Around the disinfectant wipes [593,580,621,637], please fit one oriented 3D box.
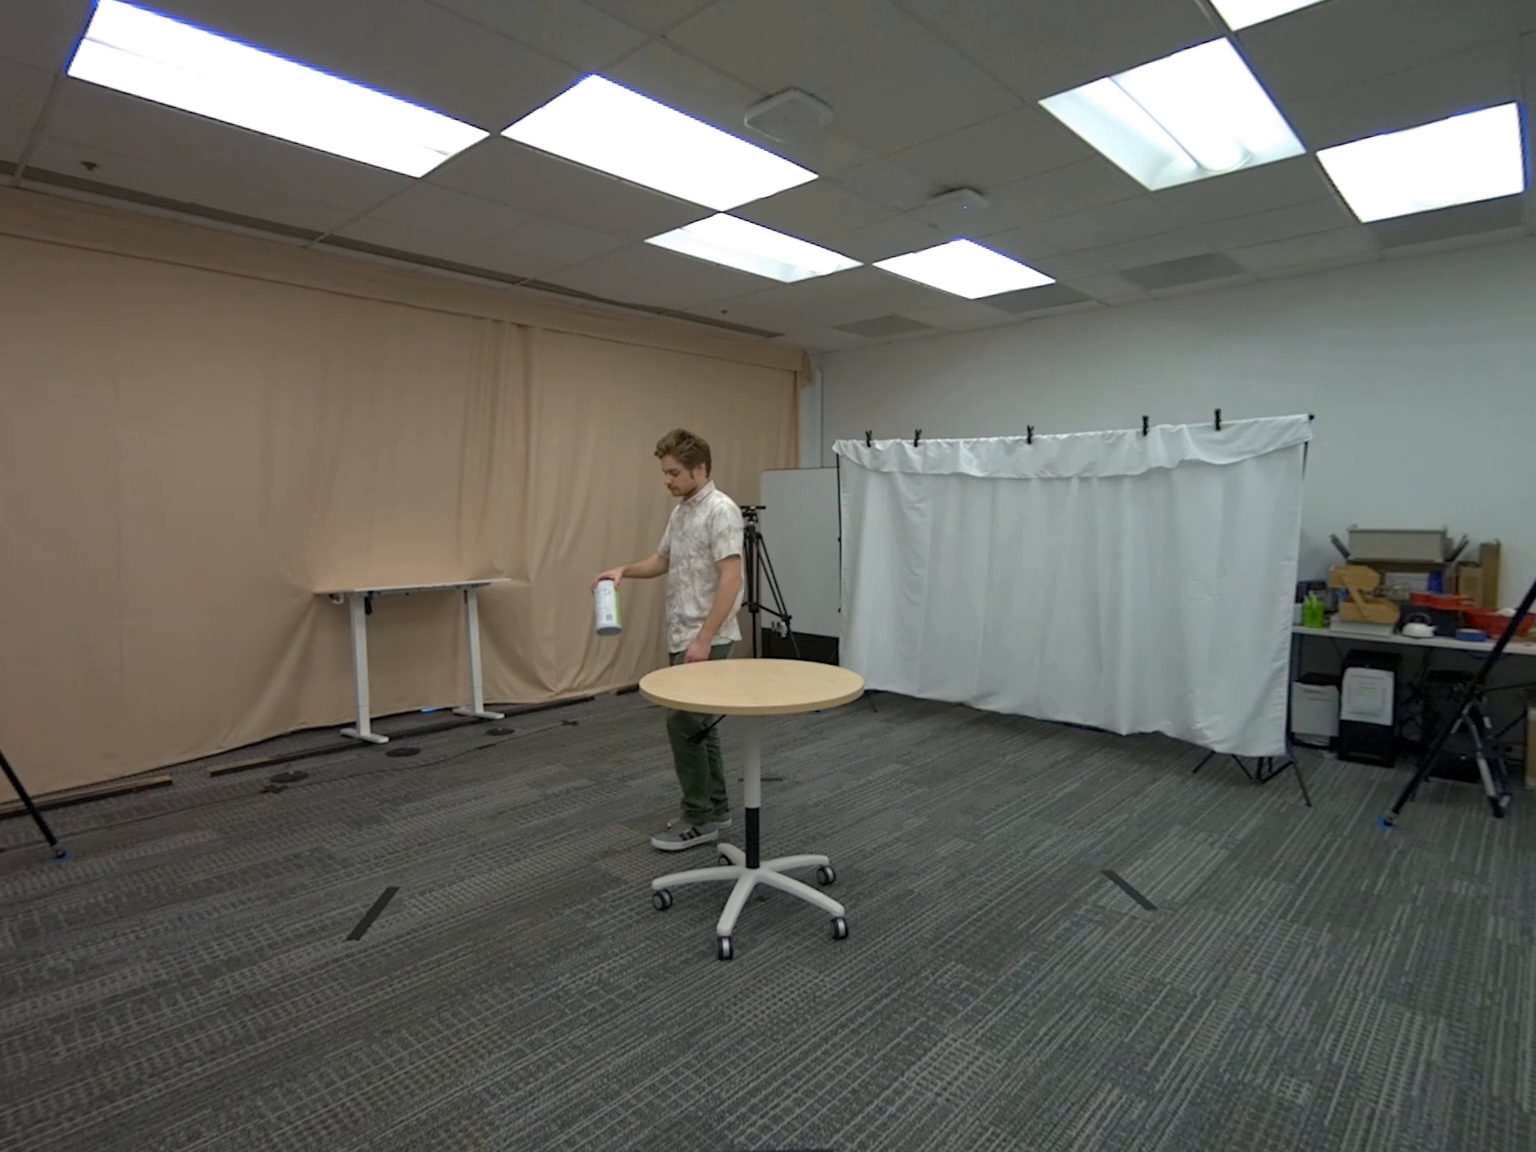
[{"bbox_3d":[-0.674,0.141,3.550,0.117,0.221,0.116,-5,-25,-4],"label":"disinfectant wipes"}]
